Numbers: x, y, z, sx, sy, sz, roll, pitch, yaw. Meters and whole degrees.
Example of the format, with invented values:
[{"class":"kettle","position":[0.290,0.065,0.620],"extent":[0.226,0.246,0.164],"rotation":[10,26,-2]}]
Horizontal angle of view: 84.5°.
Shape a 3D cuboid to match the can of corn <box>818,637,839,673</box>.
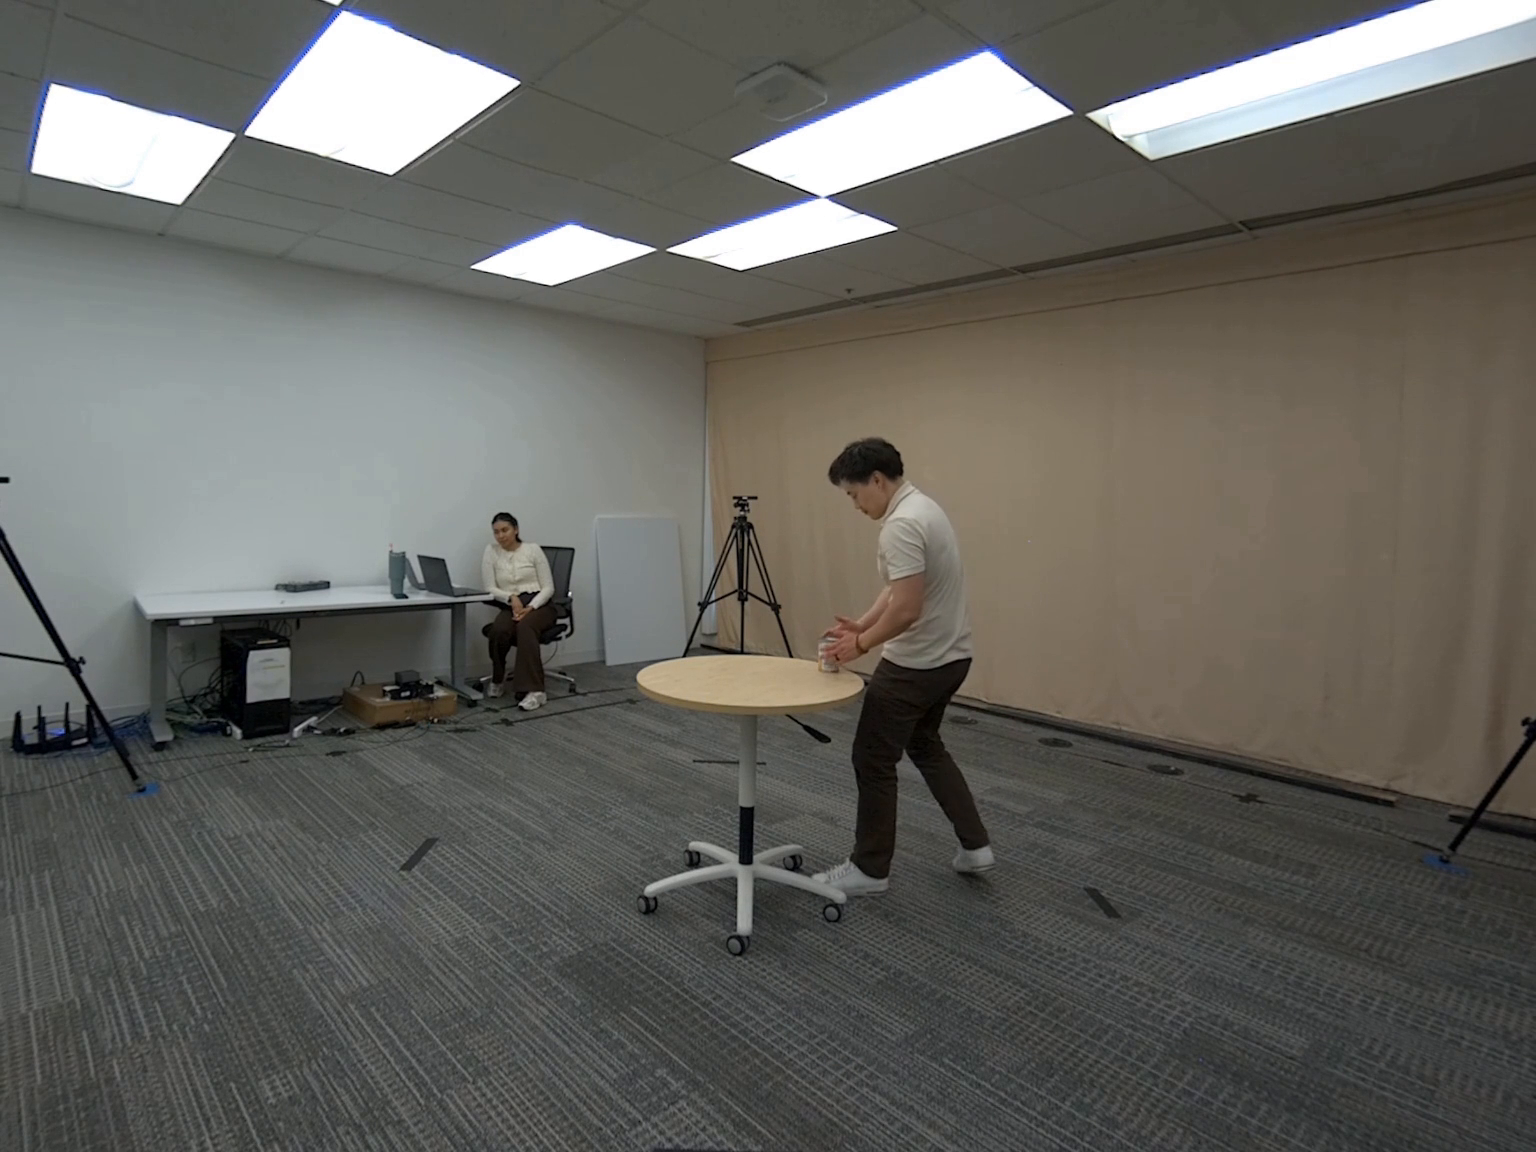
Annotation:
[{"class":"can of corn","position":[0.213,0.284,2.980],"extent":[0.074,0.110,0.074],"rotation":[5,6,-2]}]
